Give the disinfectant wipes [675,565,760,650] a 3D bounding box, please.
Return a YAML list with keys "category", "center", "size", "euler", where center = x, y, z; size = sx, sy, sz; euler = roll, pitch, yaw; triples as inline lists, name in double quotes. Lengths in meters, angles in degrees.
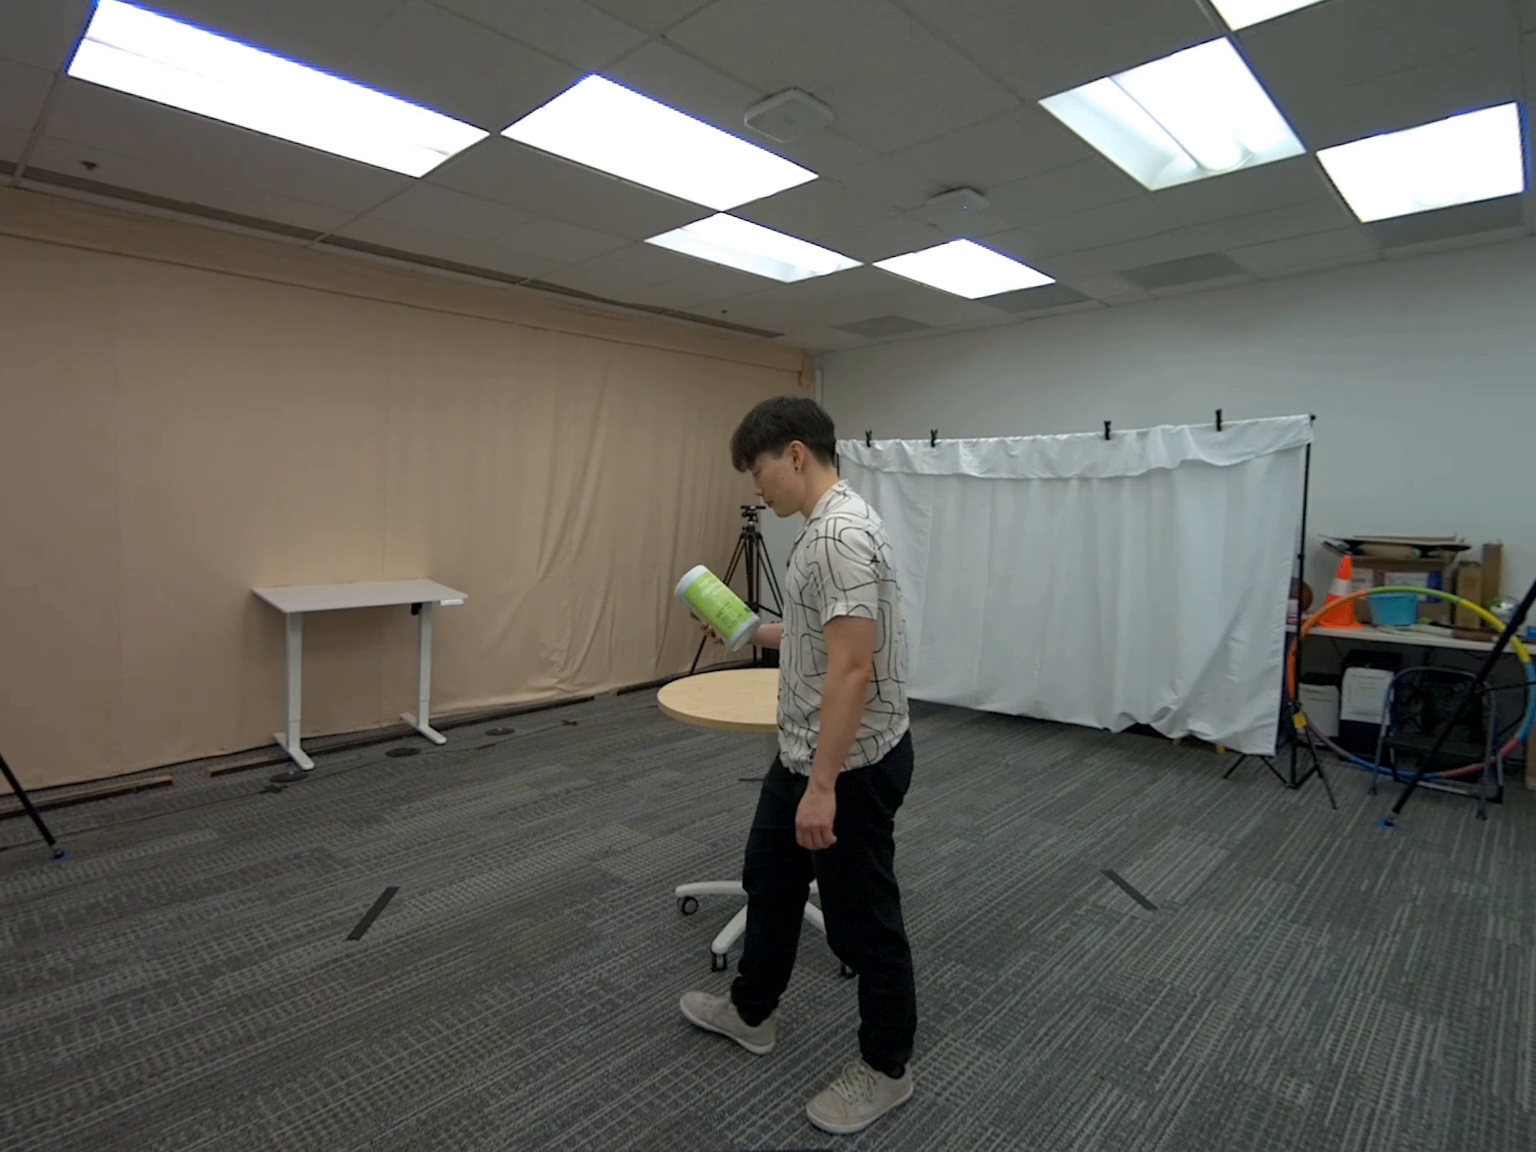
- category: "disinfectant wipes"
  center: [-0.130, 0.083, 2.136]
  size: [0.221, 0.118, 0.115]
  euler: [43, 16, 13]
